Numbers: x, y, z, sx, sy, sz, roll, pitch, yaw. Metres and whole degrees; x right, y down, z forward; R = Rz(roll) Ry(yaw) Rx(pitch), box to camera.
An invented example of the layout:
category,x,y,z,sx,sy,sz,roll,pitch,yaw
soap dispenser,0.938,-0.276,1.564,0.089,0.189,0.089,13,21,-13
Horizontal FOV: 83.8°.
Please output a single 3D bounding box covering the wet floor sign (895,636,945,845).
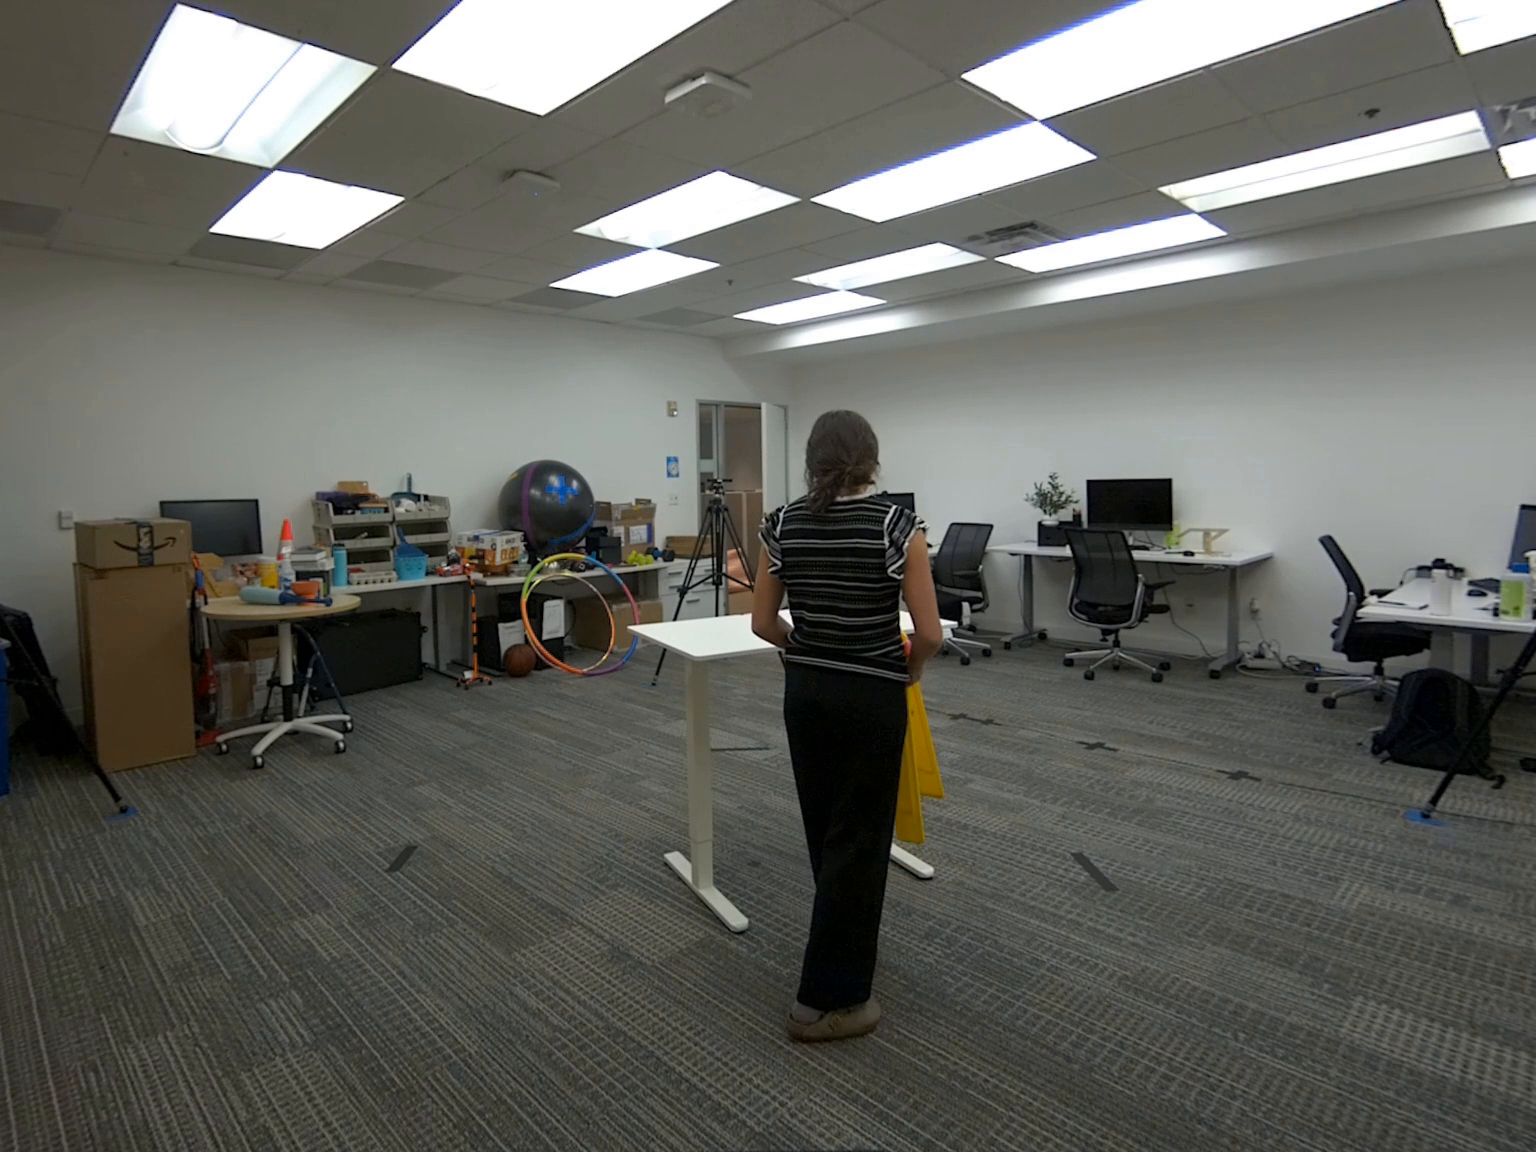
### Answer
category,x,y,z,sx,sy,sz,roll,pitch,yaw
wet floor sign,0.325,0.397,2.435,0.289,0.637,0.287,-3,15,29
